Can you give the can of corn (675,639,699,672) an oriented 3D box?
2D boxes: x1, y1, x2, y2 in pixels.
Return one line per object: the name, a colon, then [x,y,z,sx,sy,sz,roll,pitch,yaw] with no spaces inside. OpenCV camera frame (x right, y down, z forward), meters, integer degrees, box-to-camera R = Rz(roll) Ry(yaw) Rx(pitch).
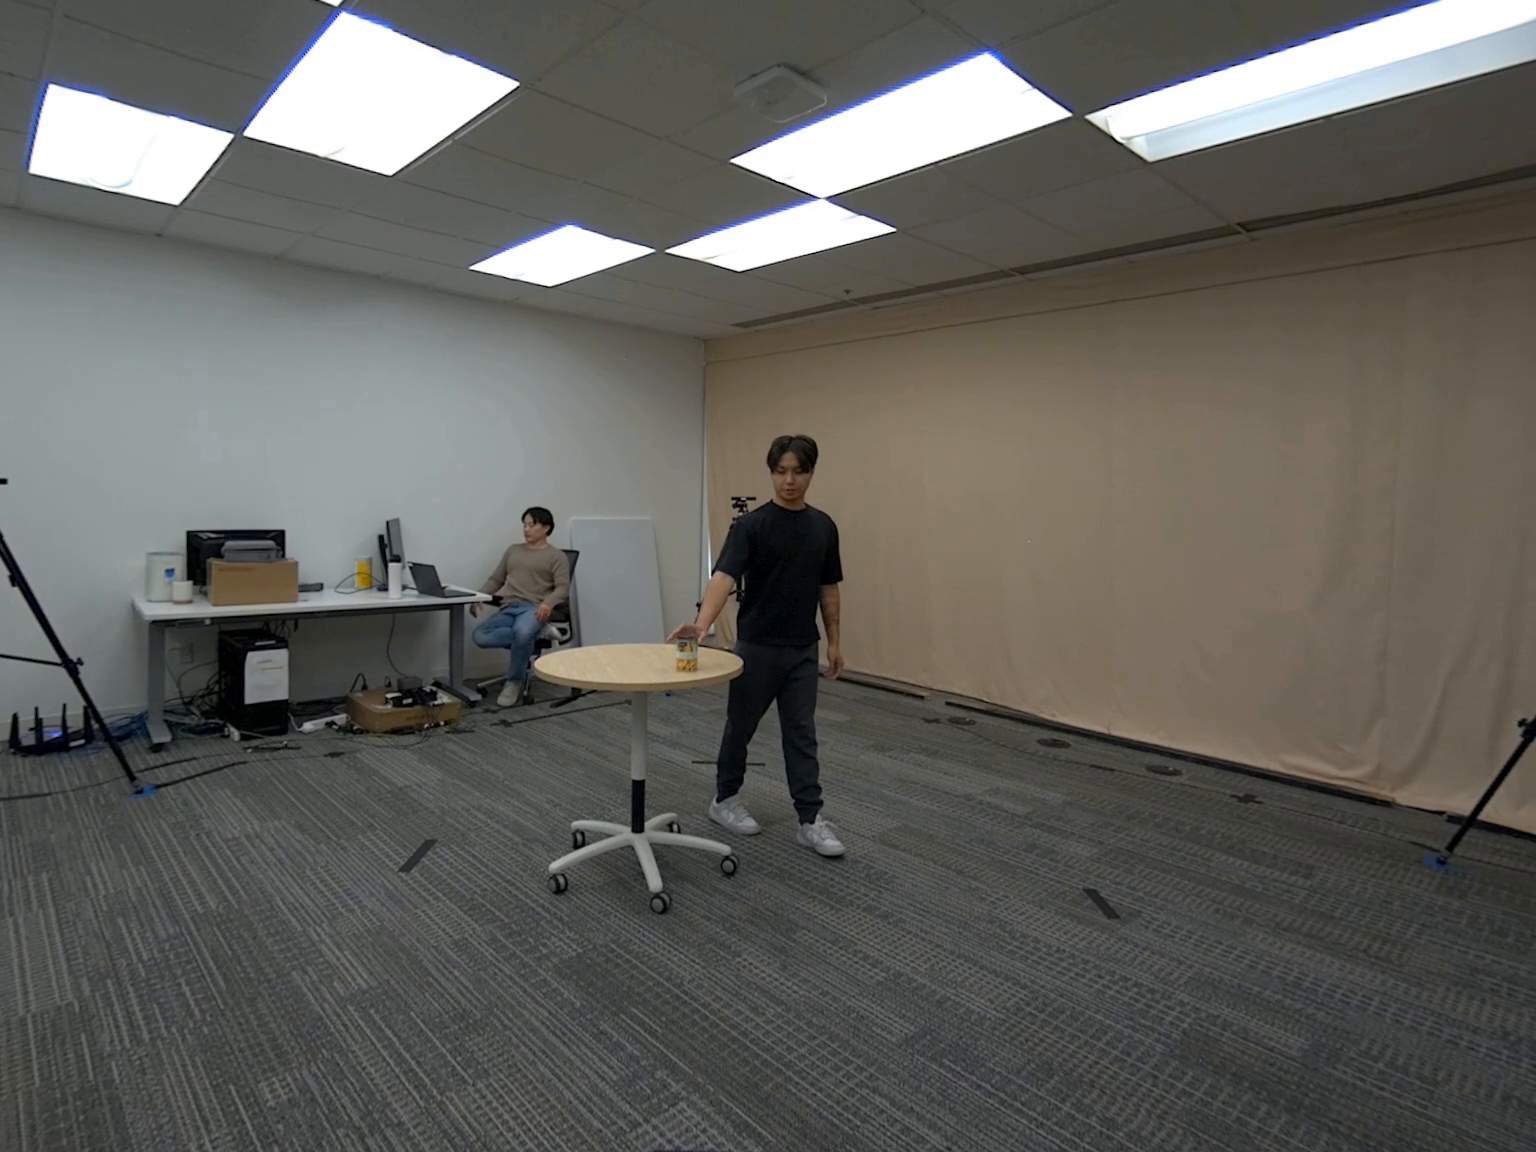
can of corn: [-0.294,0.276,2.956,0.074,0.111,0.074,2,3,-1]
